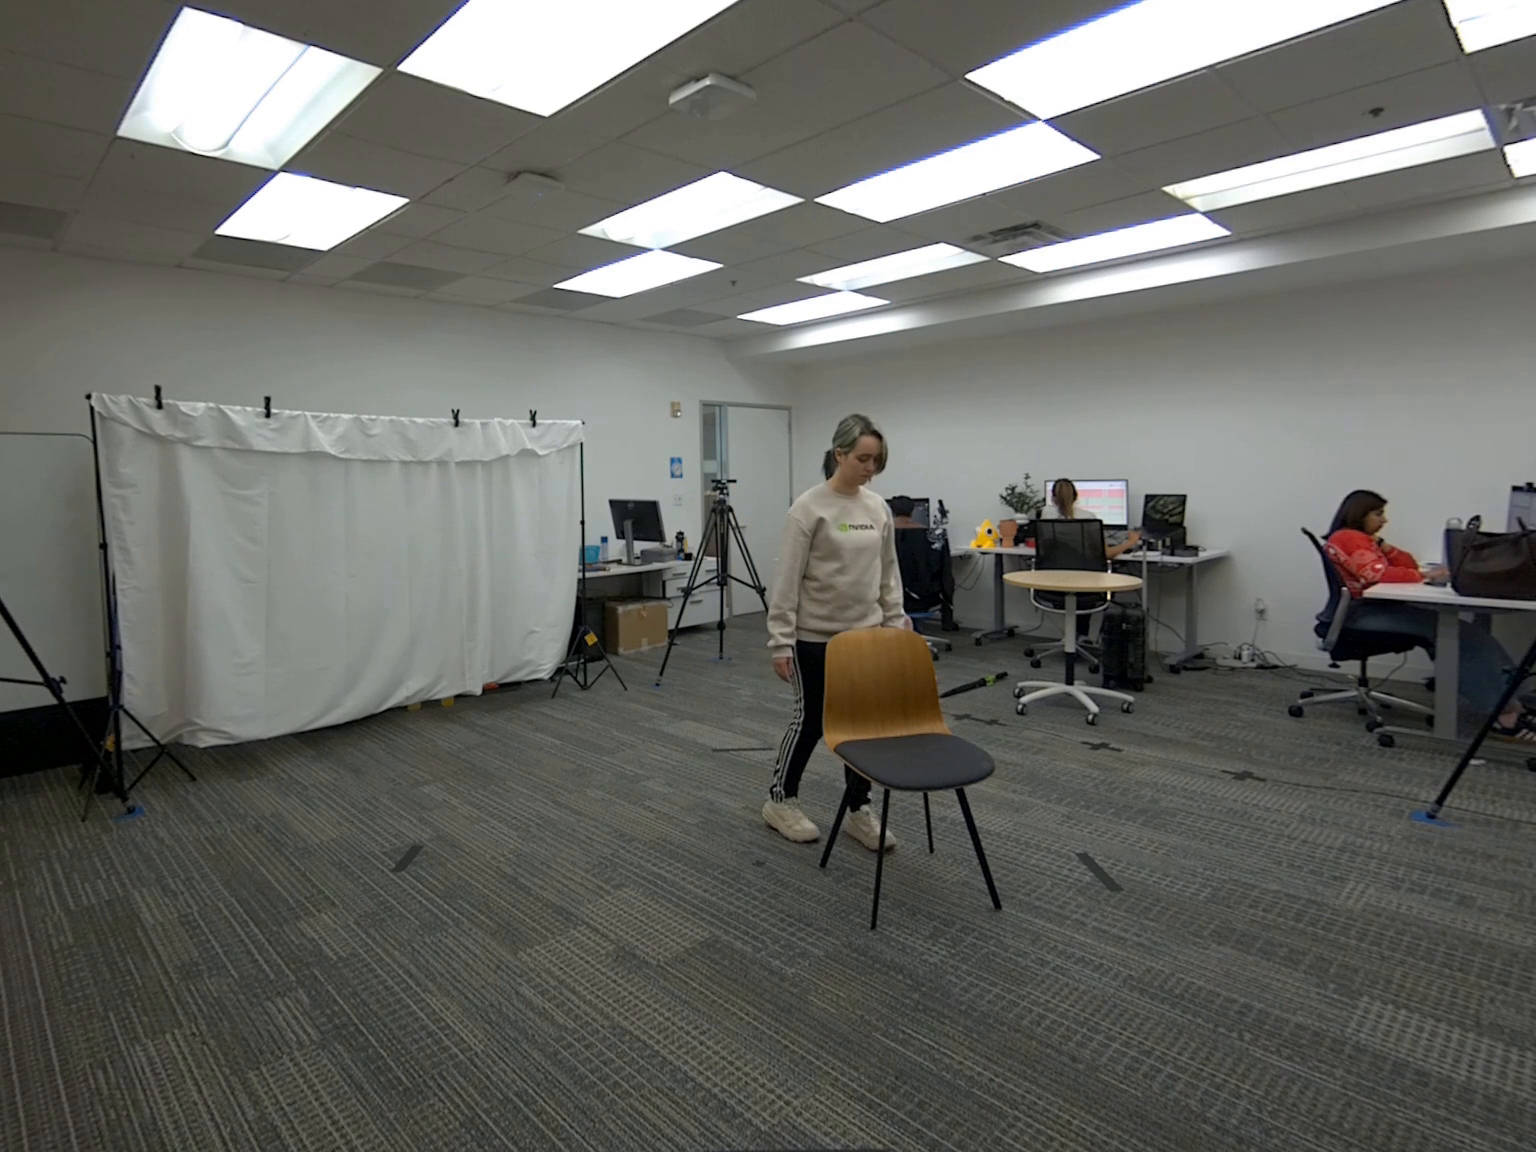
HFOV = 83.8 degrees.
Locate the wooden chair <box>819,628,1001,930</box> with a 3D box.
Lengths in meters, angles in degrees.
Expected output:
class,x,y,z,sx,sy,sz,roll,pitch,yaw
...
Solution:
class,x,y,z,sx,sy,sz,roll,pitch,yaw
wooden chair,0.462,0.641,2.867,0.471,0.877,0.531,-2,0,-16
